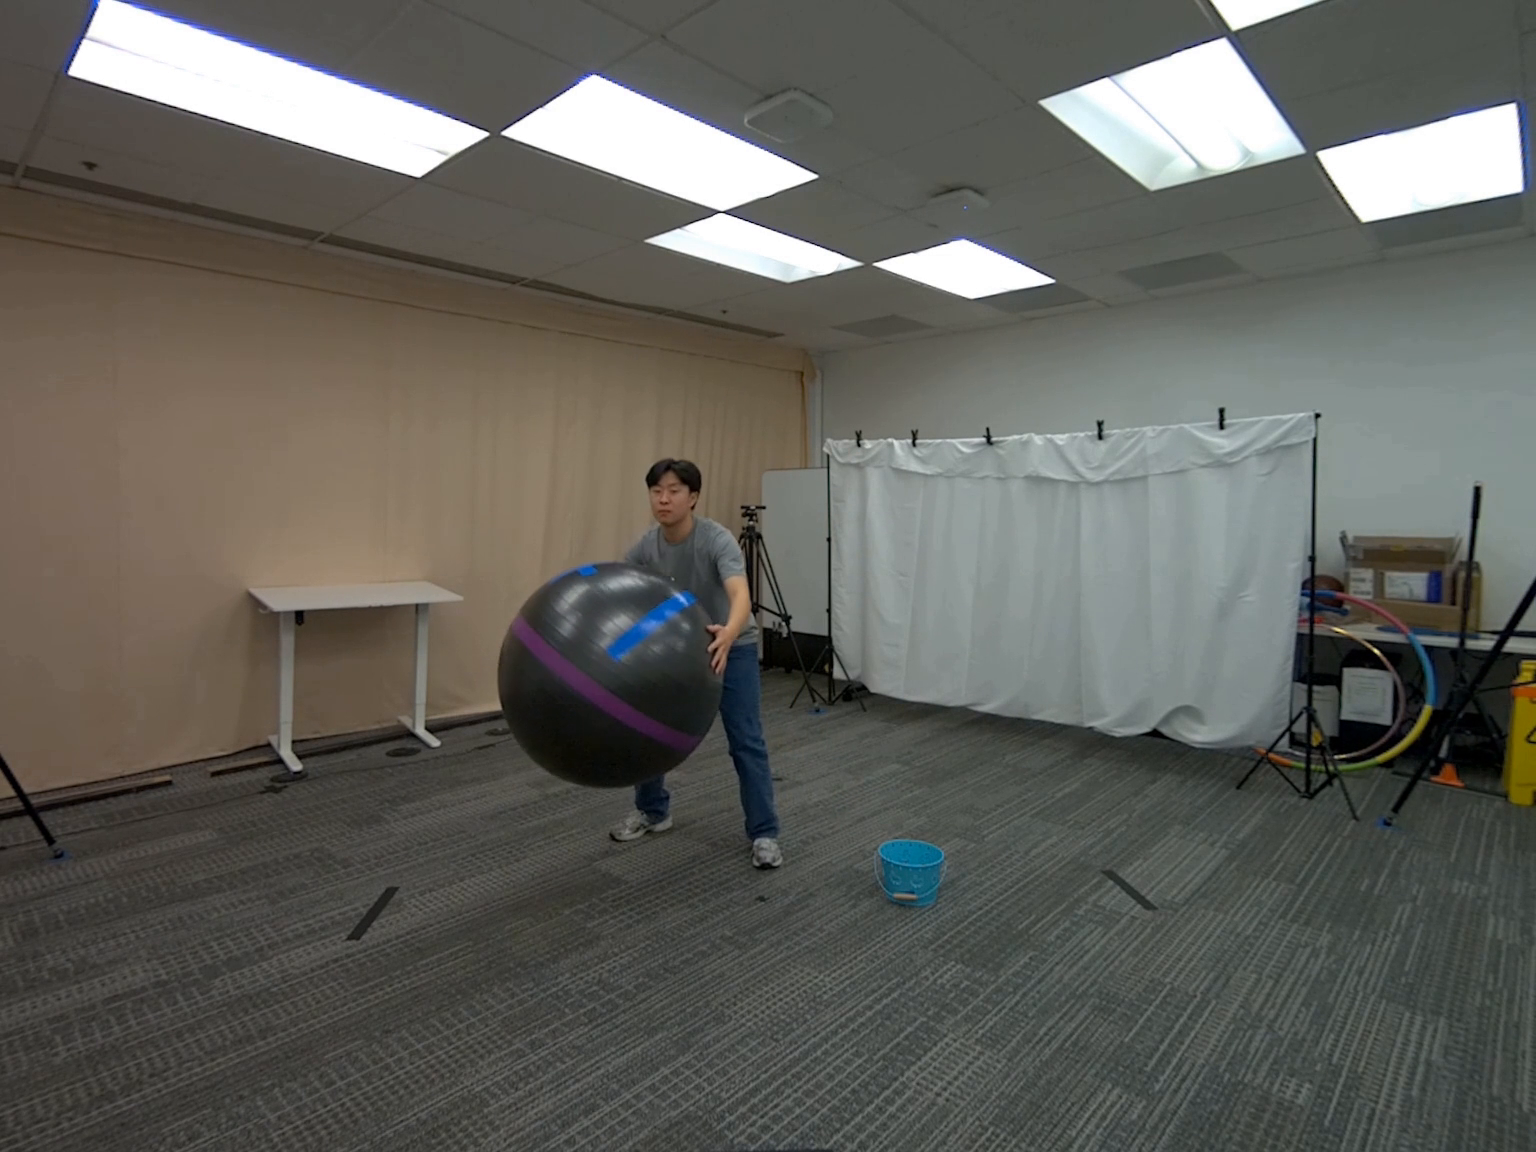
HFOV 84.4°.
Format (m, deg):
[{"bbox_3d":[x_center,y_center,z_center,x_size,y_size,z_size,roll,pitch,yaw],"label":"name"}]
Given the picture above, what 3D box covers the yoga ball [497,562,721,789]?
[{"bbox_3d":[-0.541,0.340,2.874,0.757,0.756,0.760,0,4,-2],"label":"yoga ball"}]
